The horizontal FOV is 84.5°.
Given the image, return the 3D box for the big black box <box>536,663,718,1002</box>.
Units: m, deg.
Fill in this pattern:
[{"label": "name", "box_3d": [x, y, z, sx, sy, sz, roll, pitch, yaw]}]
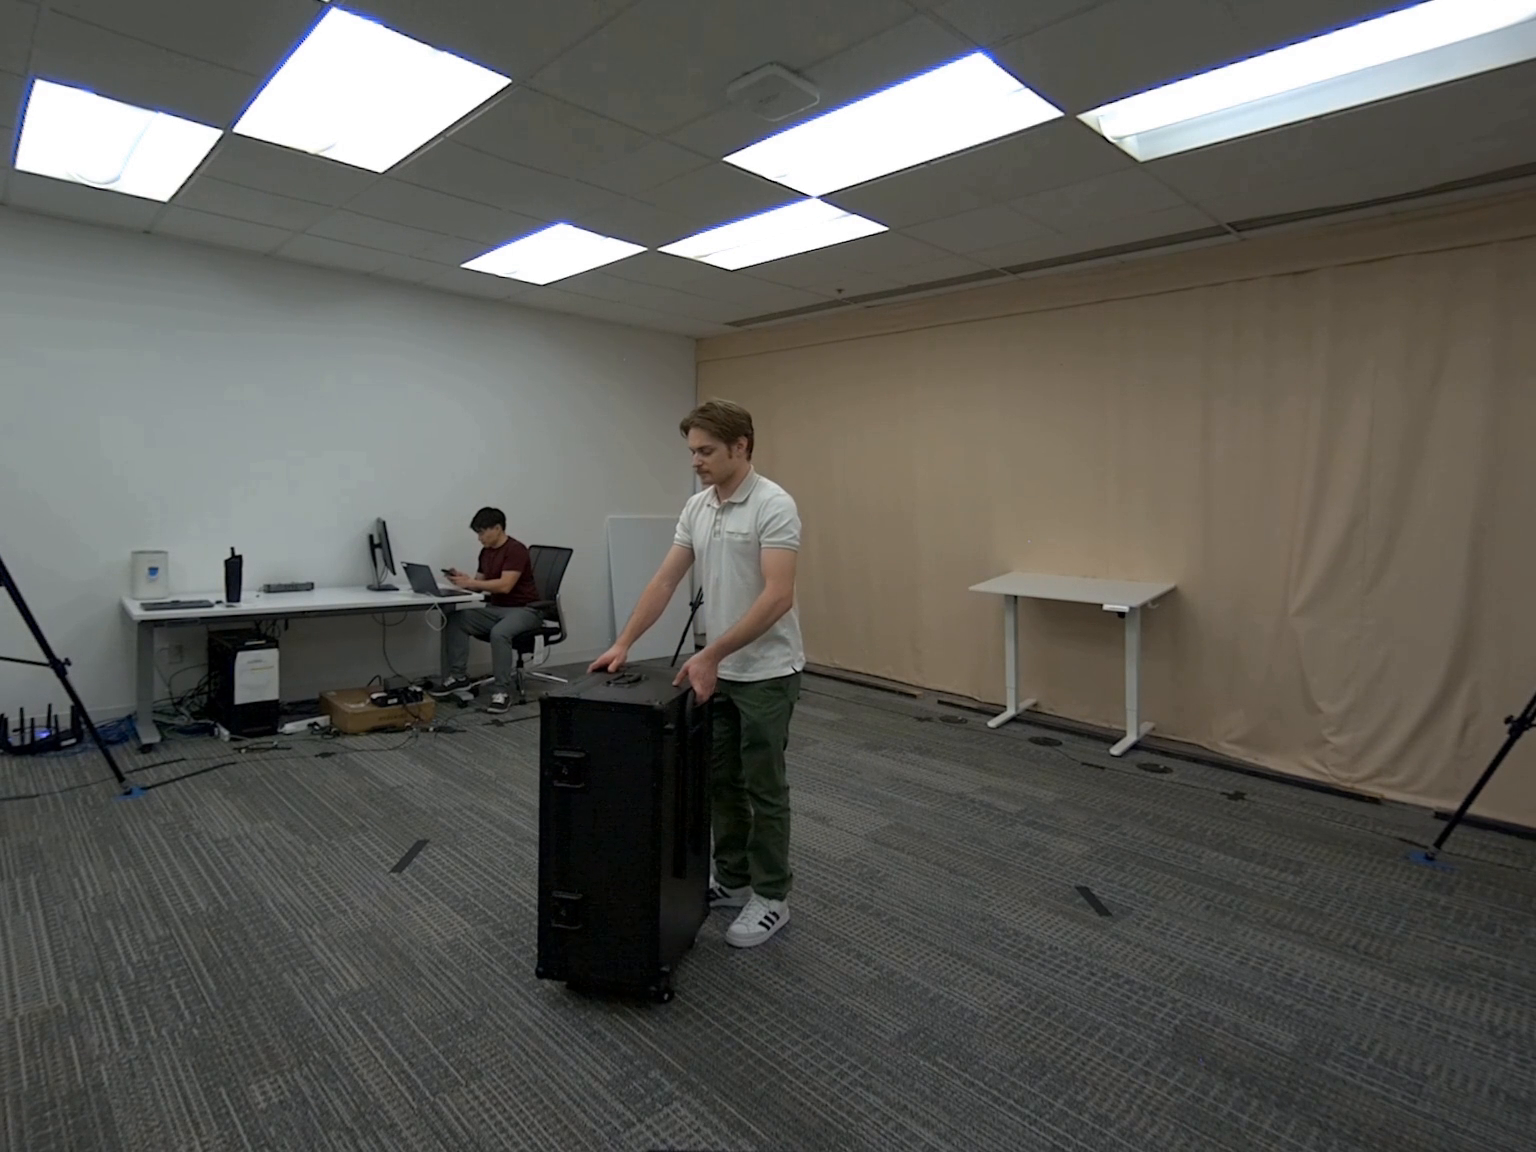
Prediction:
[{"label": "big black box", "box_3d": [-0.403, 0.736, 2.460, 0.389, 0.866, 0.519, 2, 3, 12]}]
